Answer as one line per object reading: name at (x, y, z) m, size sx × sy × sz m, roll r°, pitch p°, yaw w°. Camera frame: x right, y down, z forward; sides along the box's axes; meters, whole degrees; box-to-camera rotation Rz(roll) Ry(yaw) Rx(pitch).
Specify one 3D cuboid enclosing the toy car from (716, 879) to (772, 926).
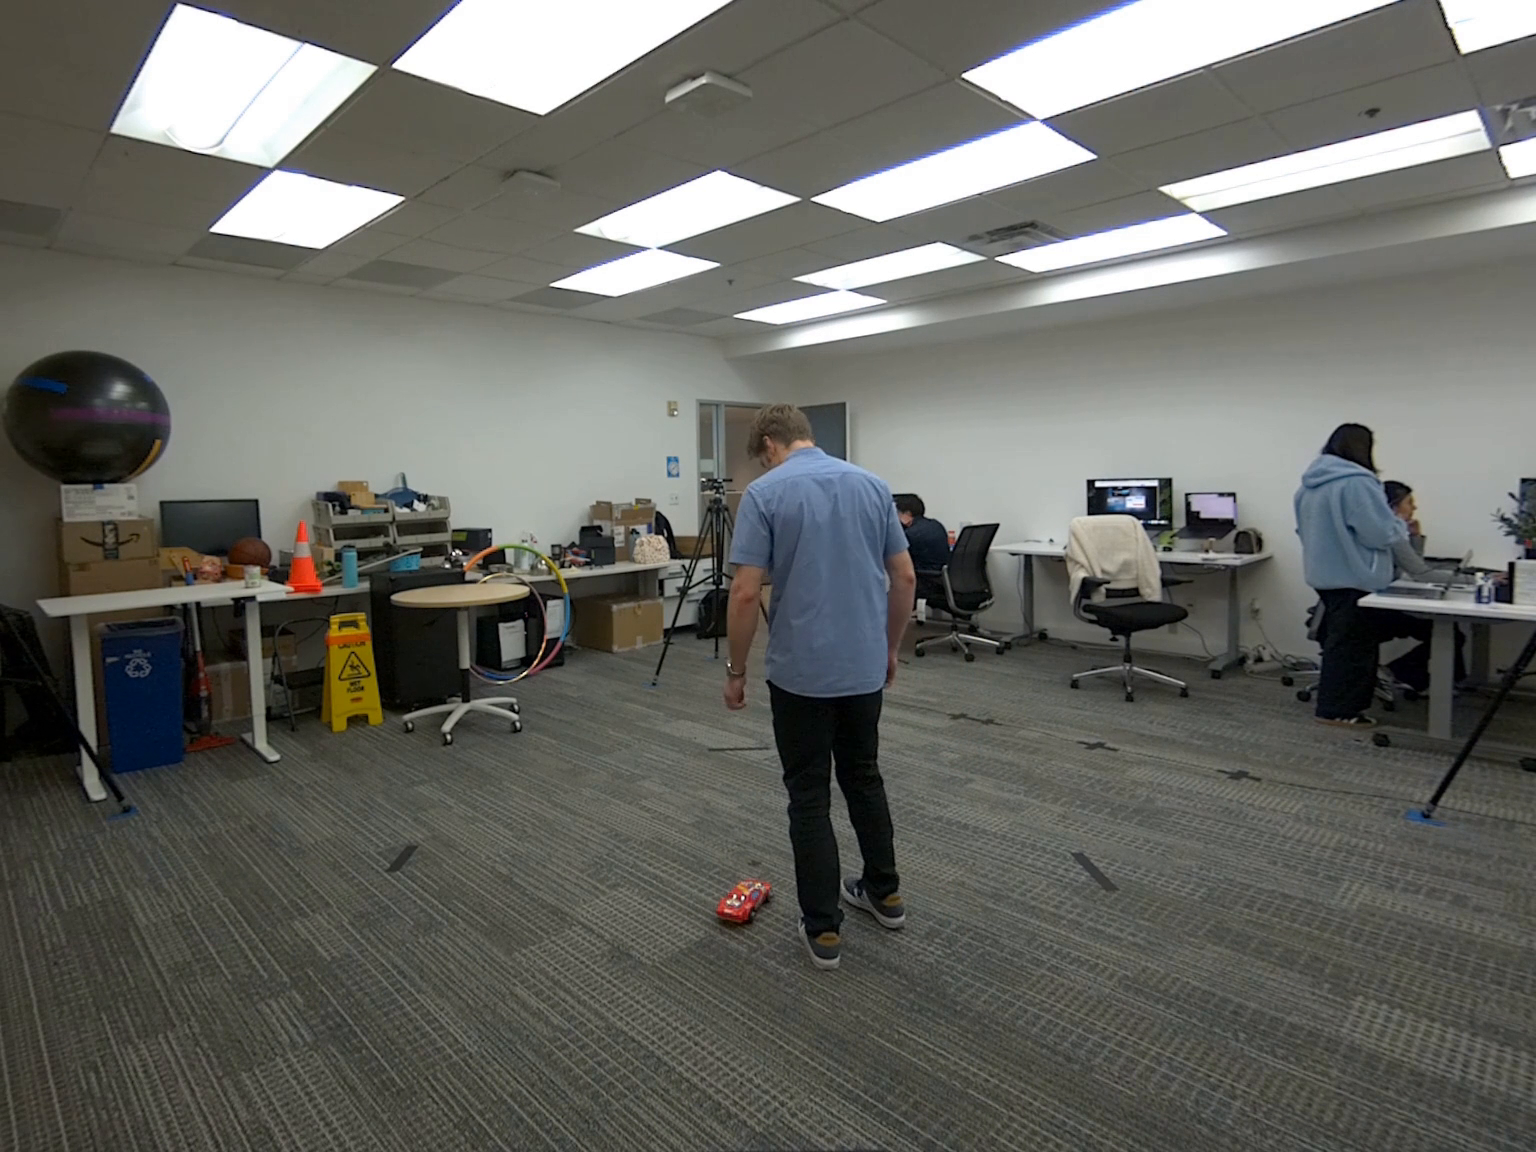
toy car at (-0.076, 1.053, 2.758) m, size 0.133 × 0.083 × 0.248 m, roll 2°, pitch -4°, yaw 24°
